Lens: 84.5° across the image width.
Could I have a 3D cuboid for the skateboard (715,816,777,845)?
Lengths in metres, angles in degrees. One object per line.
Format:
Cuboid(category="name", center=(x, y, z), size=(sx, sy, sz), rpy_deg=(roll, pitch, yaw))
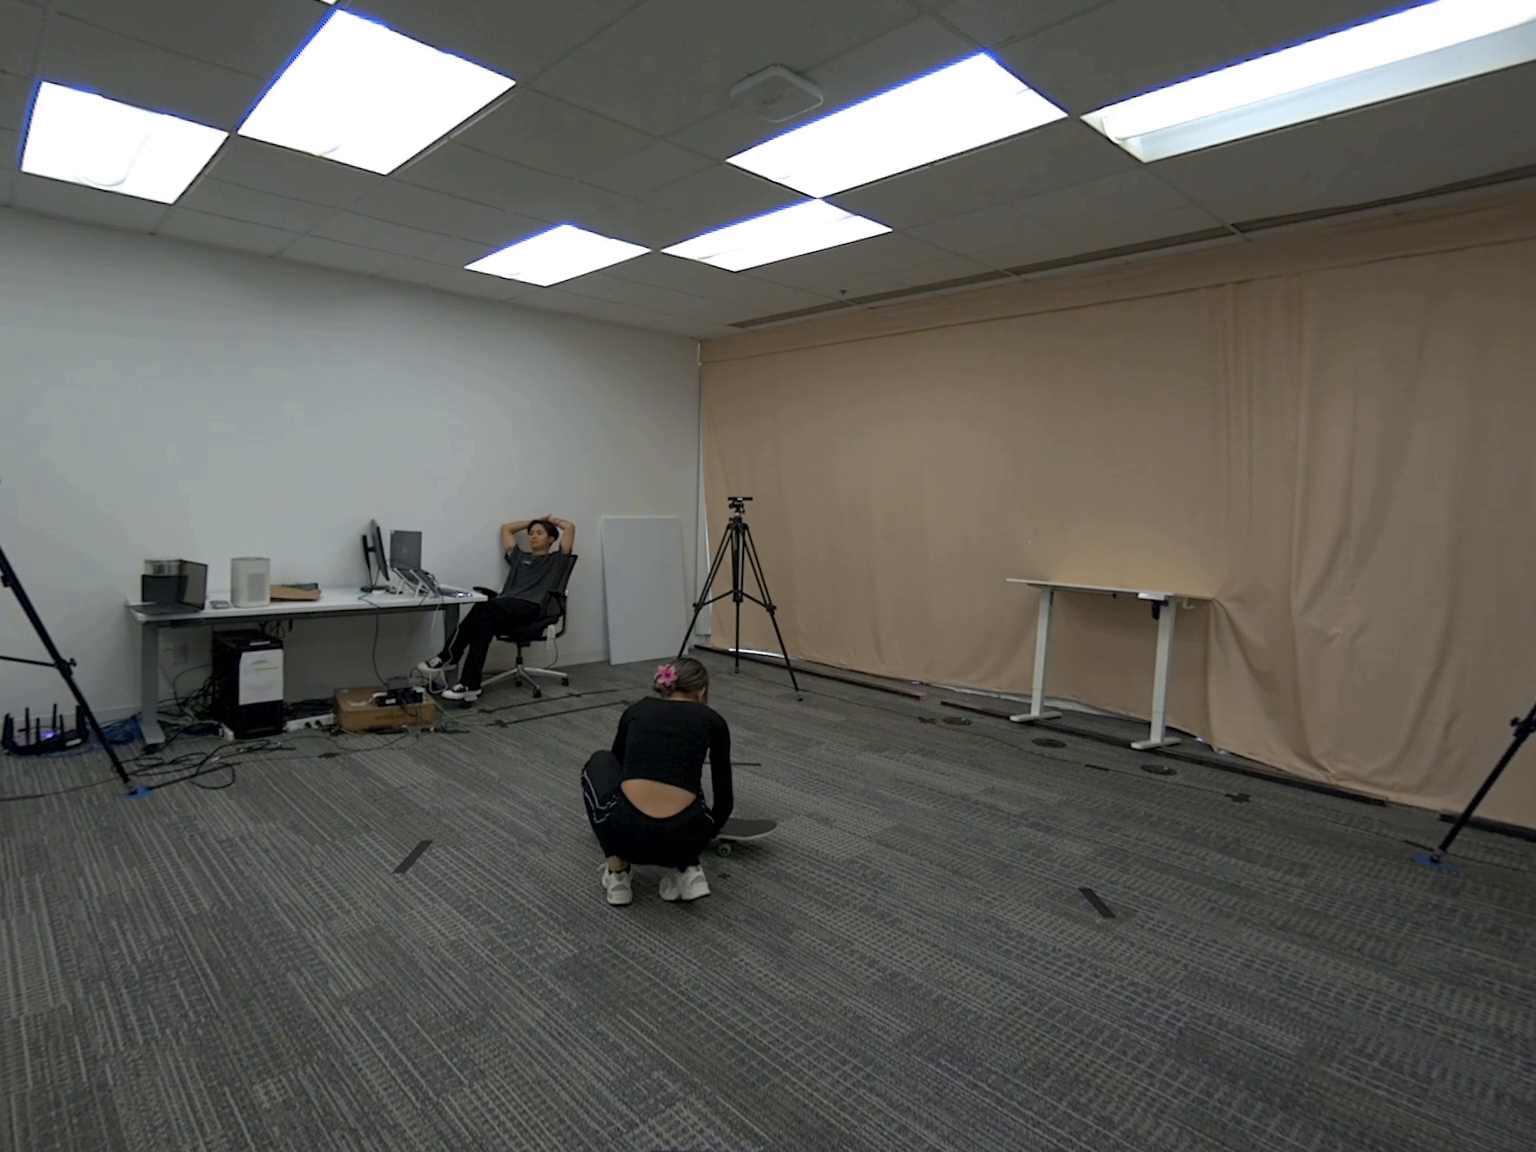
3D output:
Cuboid(category="skateboard", center=(-0.360, 1.019, 3.381), size=(0.791, 0.110, 0.192), rpy_deg=(2, 5, 9))
